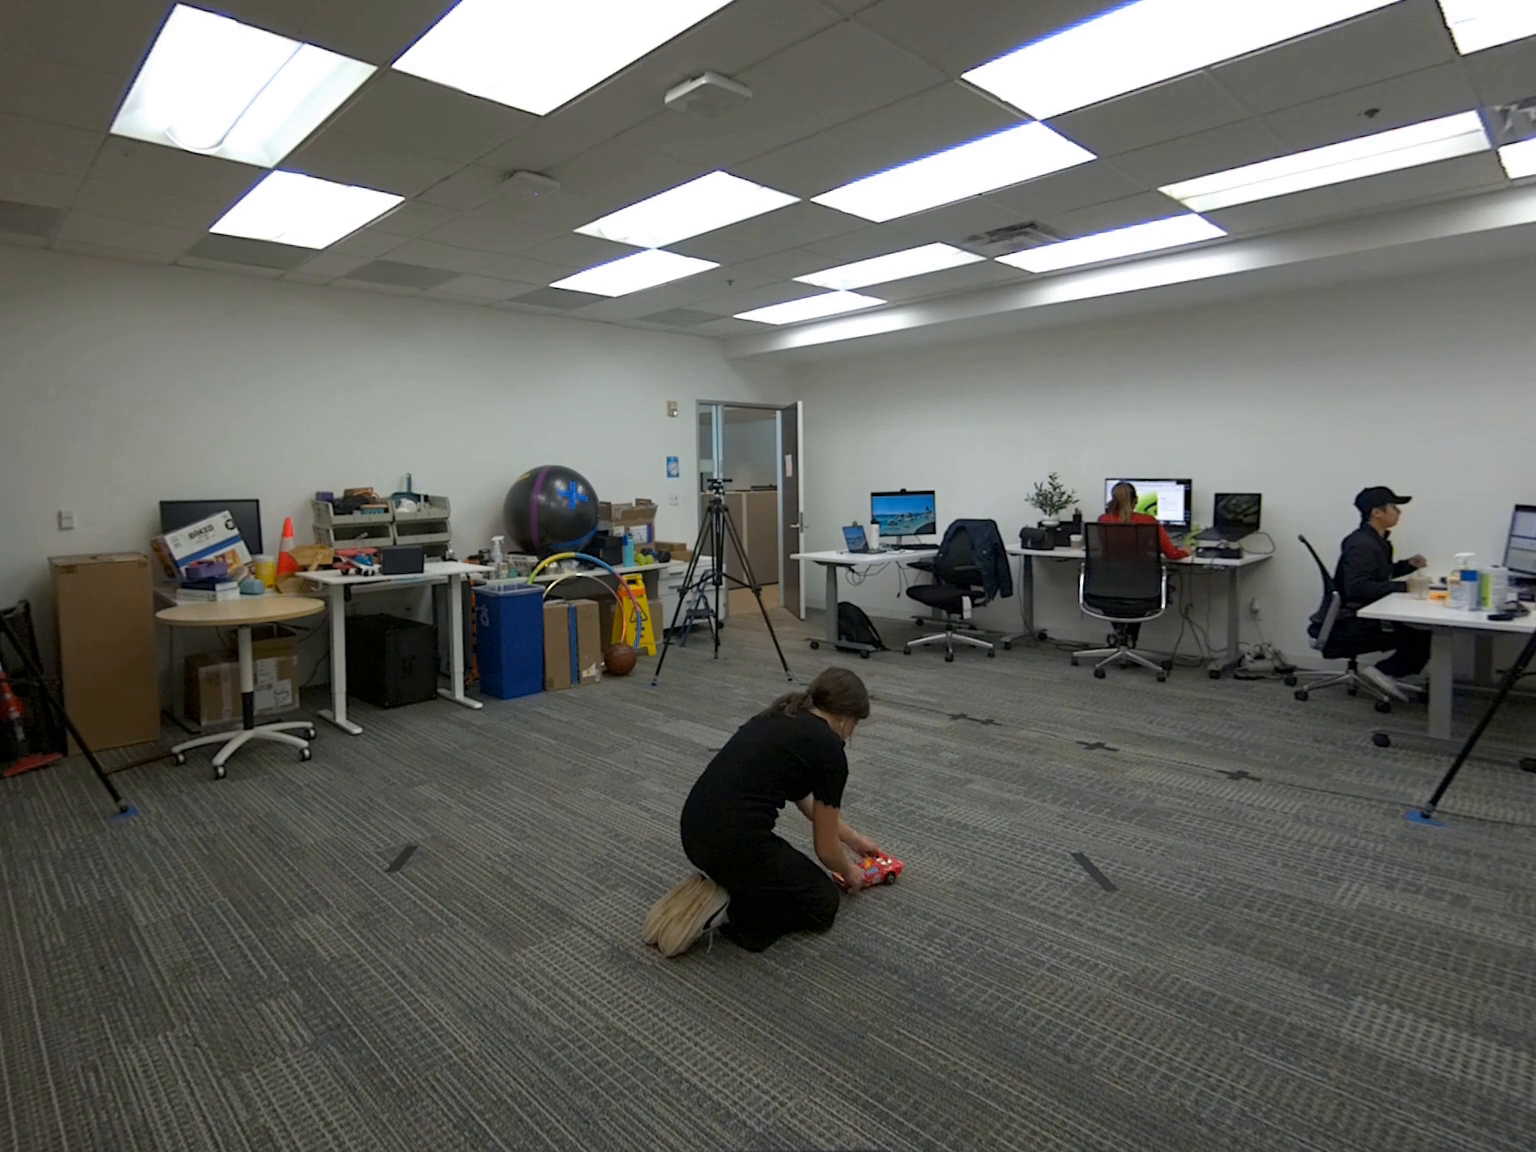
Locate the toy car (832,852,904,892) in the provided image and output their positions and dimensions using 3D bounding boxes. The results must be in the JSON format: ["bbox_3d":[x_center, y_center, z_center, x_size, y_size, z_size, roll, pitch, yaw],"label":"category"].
[{"bbox_3d":[0.349,1.025,2.942,0.251,0.082,0.133,-15,10,-23],"label":"toy car"}]
